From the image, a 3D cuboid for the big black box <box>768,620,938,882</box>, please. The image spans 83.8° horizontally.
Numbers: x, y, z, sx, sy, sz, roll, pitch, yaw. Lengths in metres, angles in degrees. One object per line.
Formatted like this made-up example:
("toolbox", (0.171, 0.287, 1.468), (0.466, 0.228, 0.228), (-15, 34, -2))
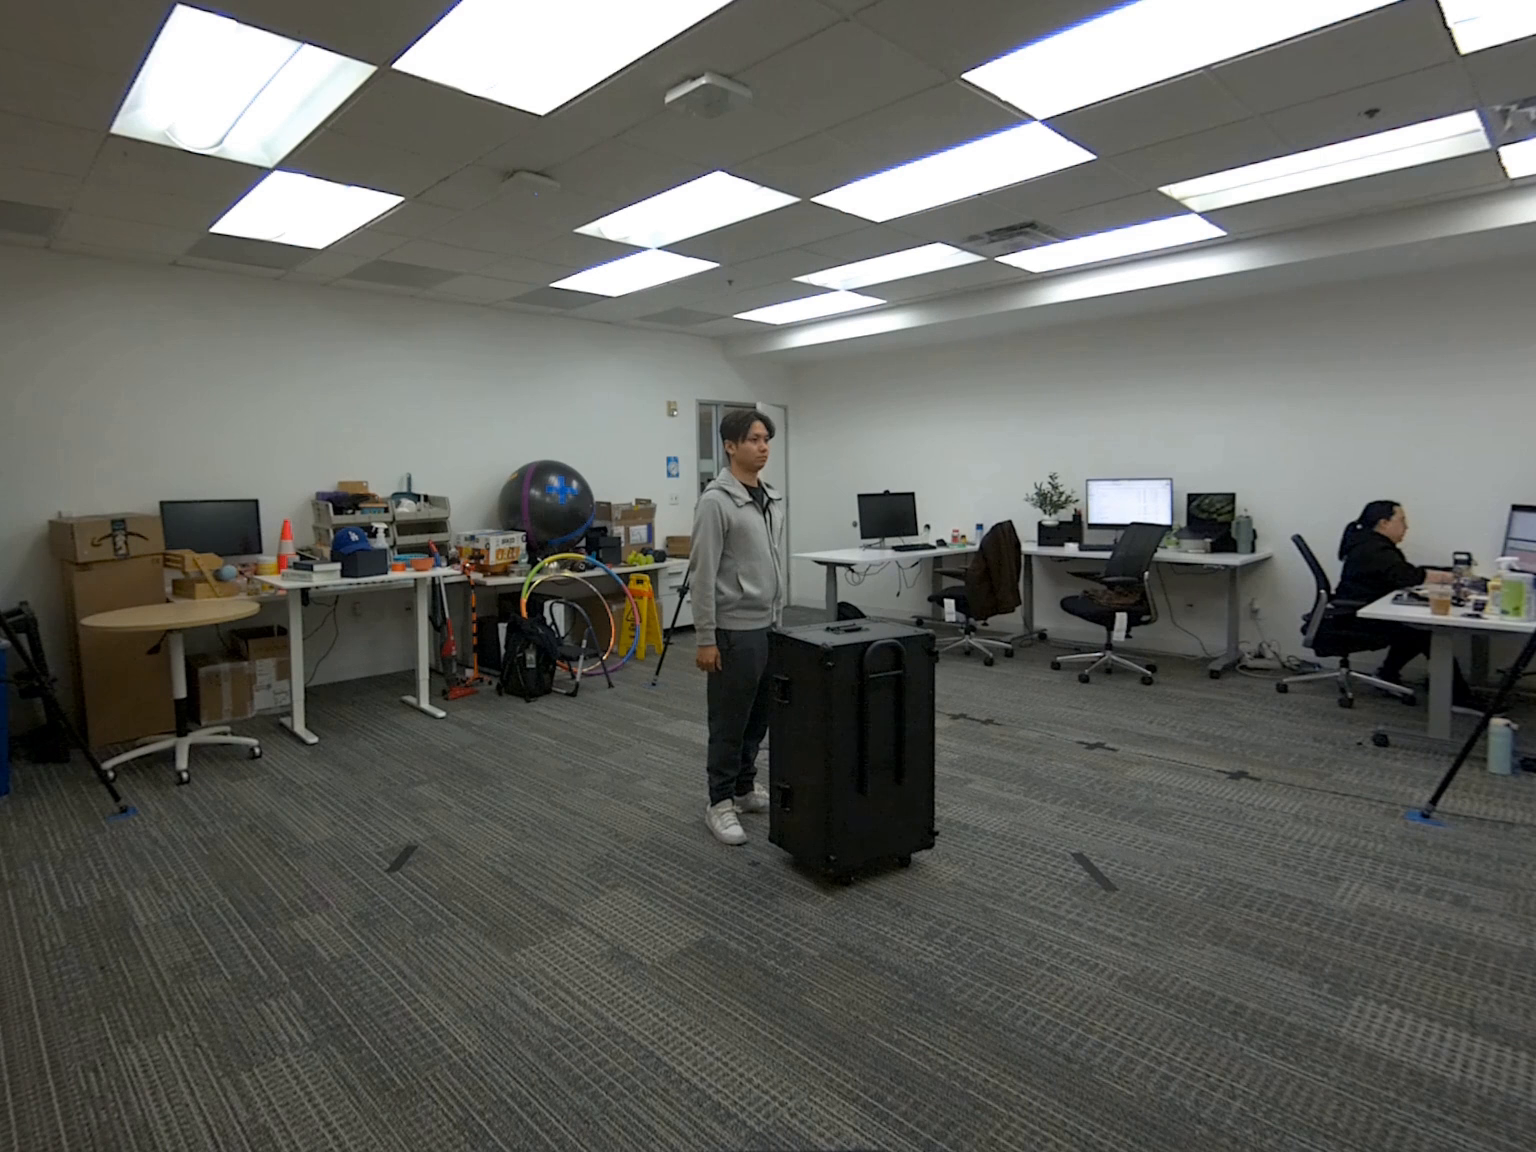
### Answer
("big black box", (0.312, 0.620, 3.057), (0.509, 0.857, 0.407), (-3, 6, -30))
